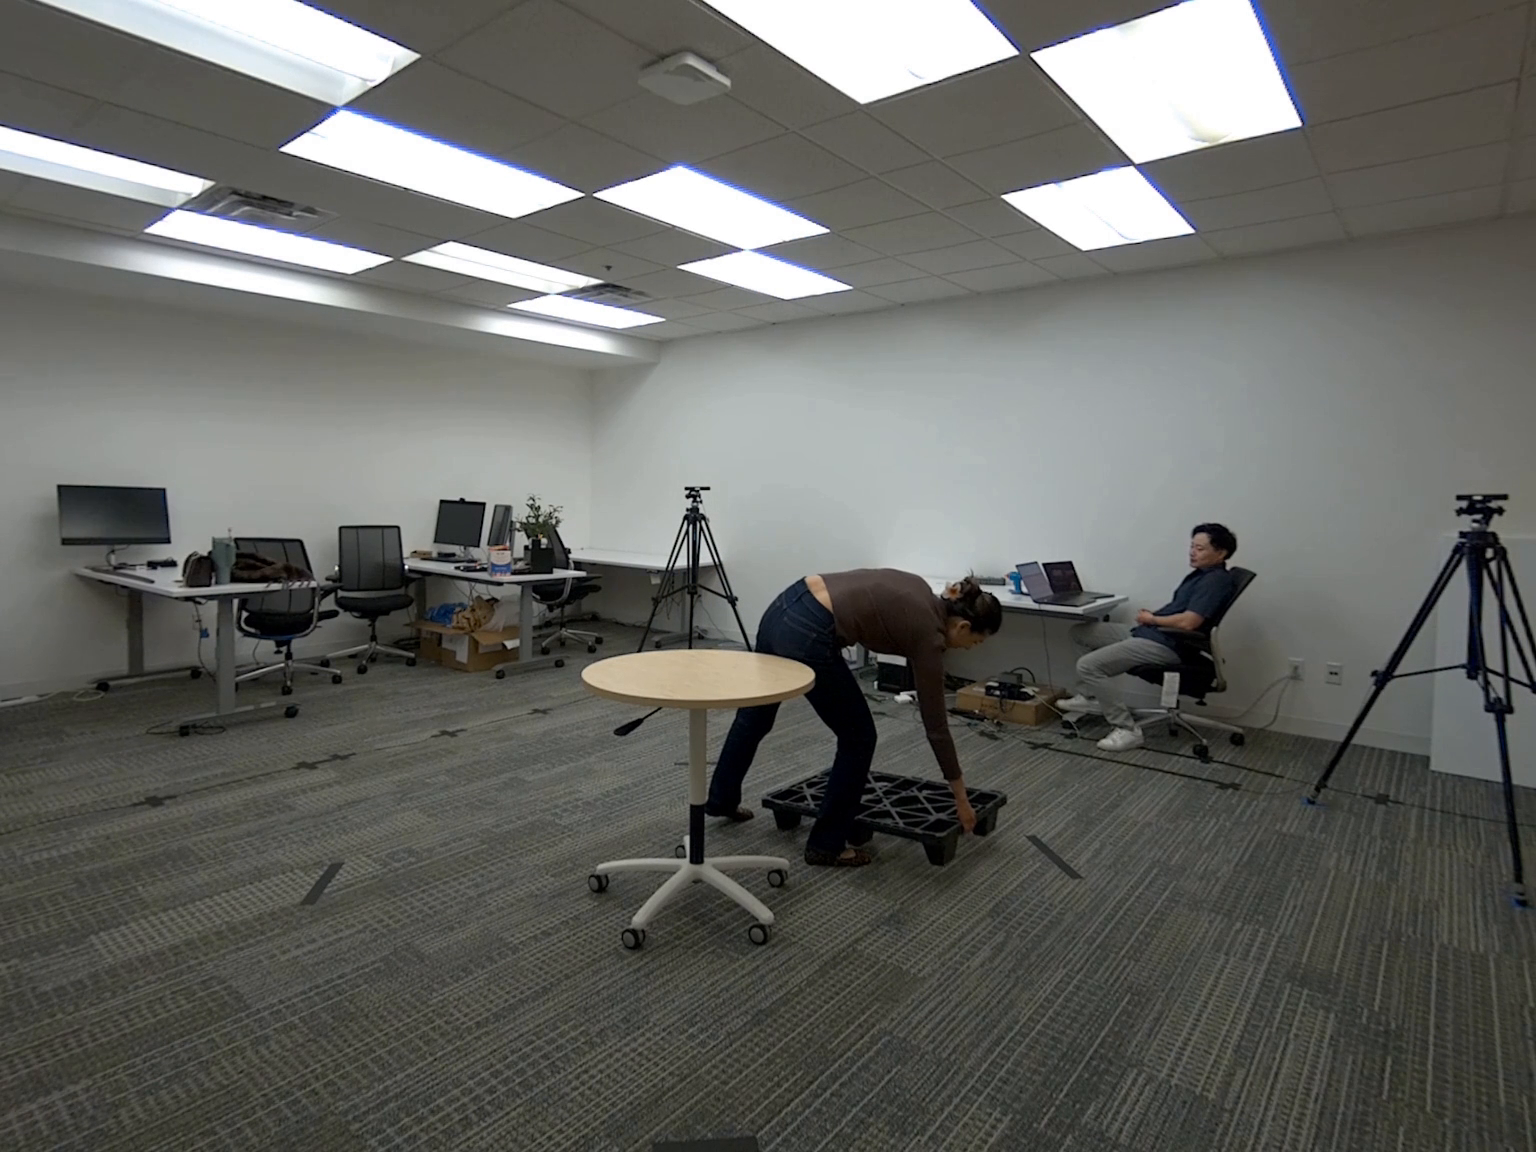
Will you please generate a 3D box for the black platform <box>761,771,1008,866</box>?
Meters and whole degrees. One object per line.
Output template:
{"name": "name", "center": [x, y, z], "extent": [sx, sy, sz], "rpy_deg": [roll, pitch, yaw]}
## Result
{"name": "black platform", "center": [0.464, 0.952, 3.432], "extent": [0.830, 0.143, 0.587], "rpy_deg": [-1, 4, 39]}
